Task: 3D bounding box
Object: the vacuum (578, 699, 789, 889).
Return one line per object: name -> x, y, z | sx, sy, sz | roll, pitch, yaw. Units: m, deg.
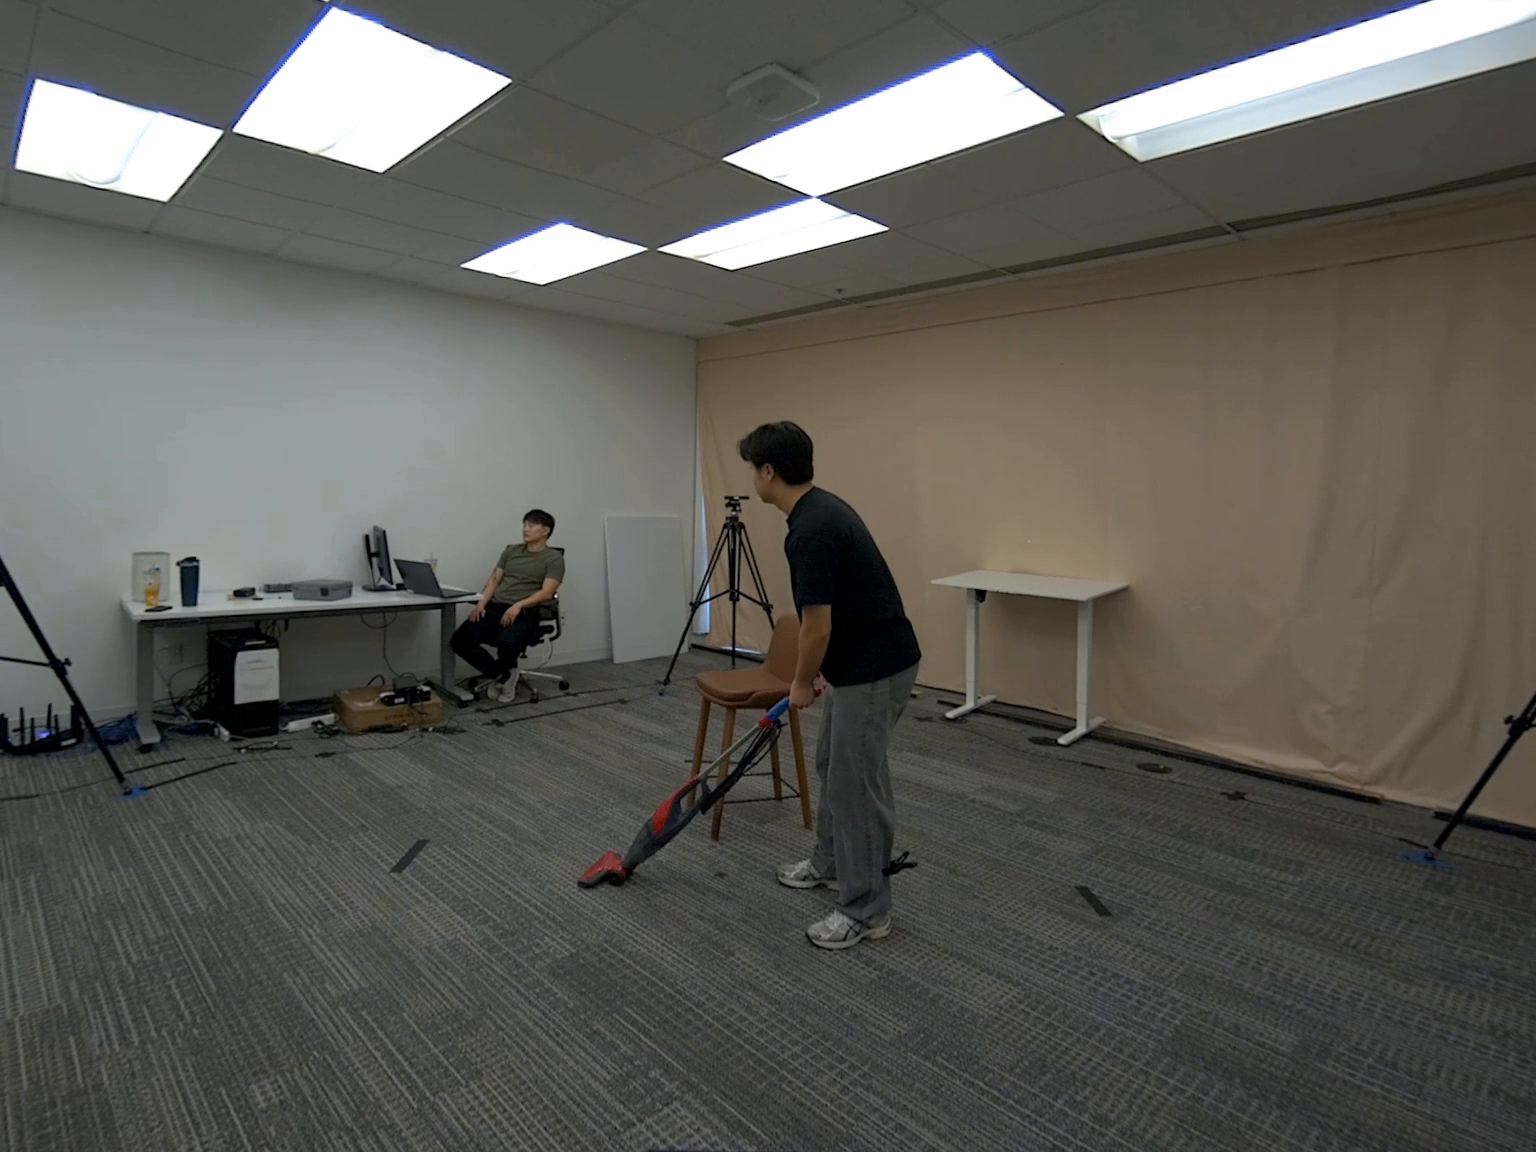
vacuum -> -0.224, 0.737, 2.929 | 1.050, 0.144, 0.251 | -43, -2, 15
